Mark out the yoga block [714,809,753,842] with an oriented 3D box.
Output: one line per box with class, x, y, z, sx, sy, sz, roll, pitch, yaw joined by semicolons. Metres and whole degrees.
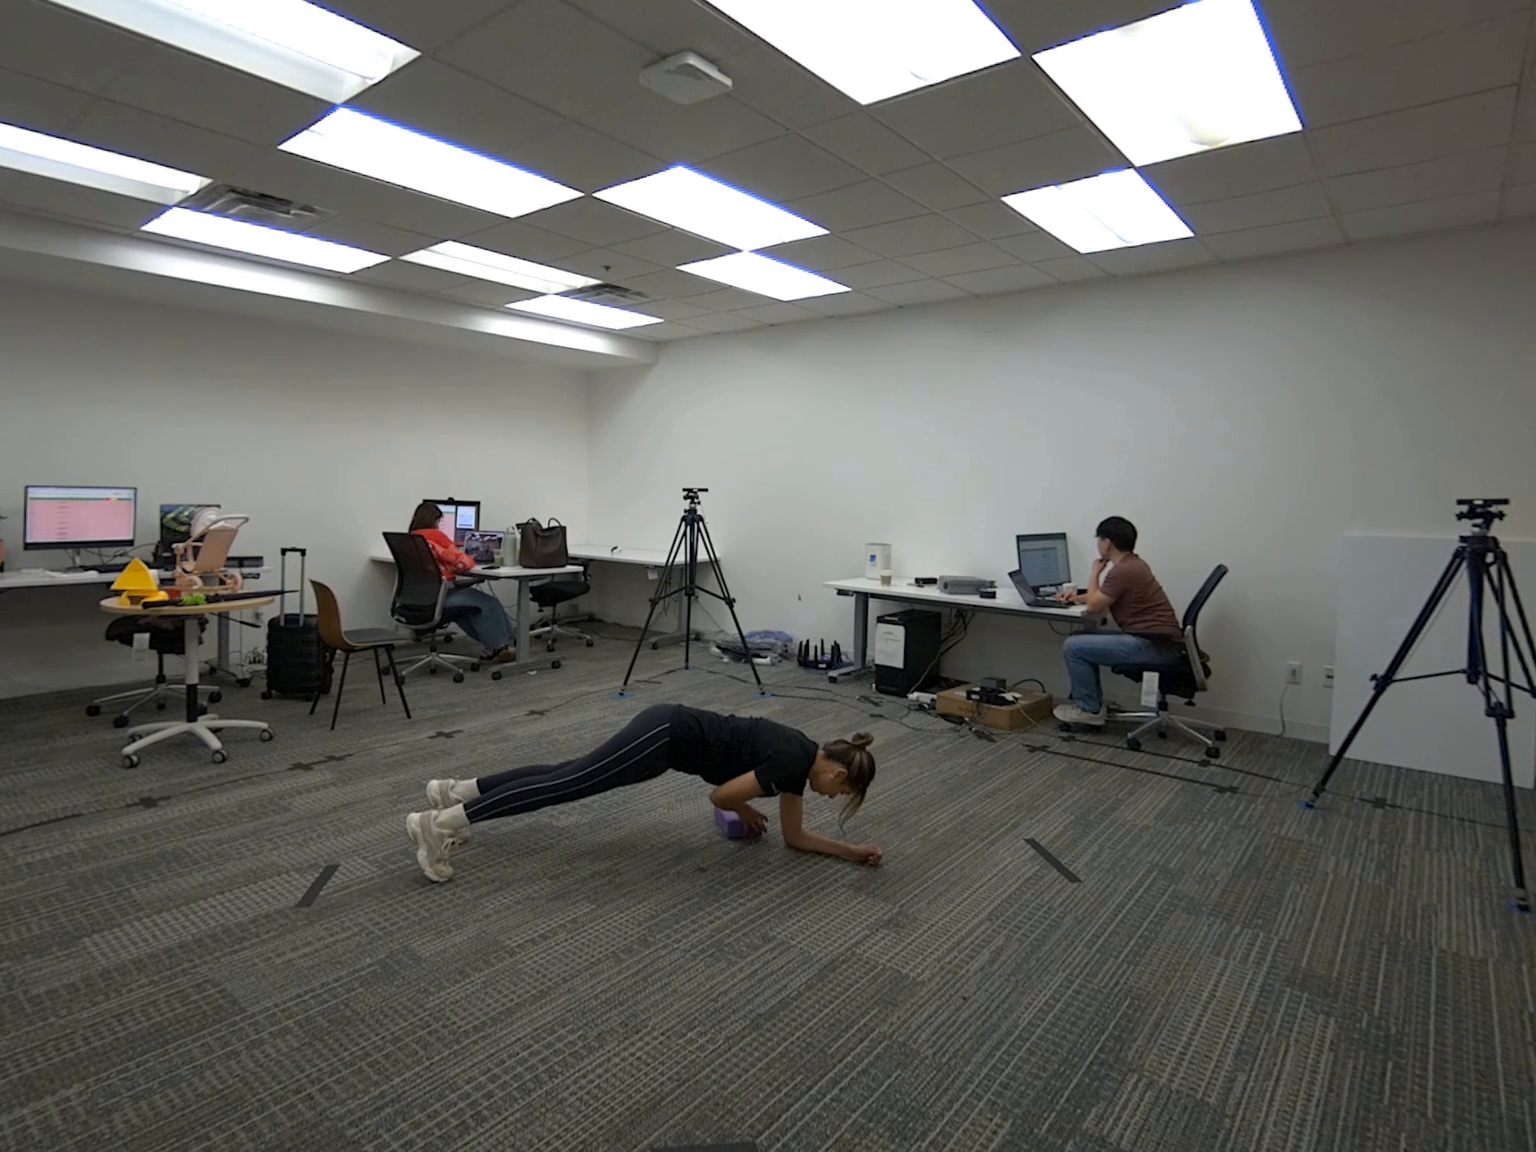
yoga block;-0.135;0.994;3.499;0.146;0.076;0.233;1;3;-16
